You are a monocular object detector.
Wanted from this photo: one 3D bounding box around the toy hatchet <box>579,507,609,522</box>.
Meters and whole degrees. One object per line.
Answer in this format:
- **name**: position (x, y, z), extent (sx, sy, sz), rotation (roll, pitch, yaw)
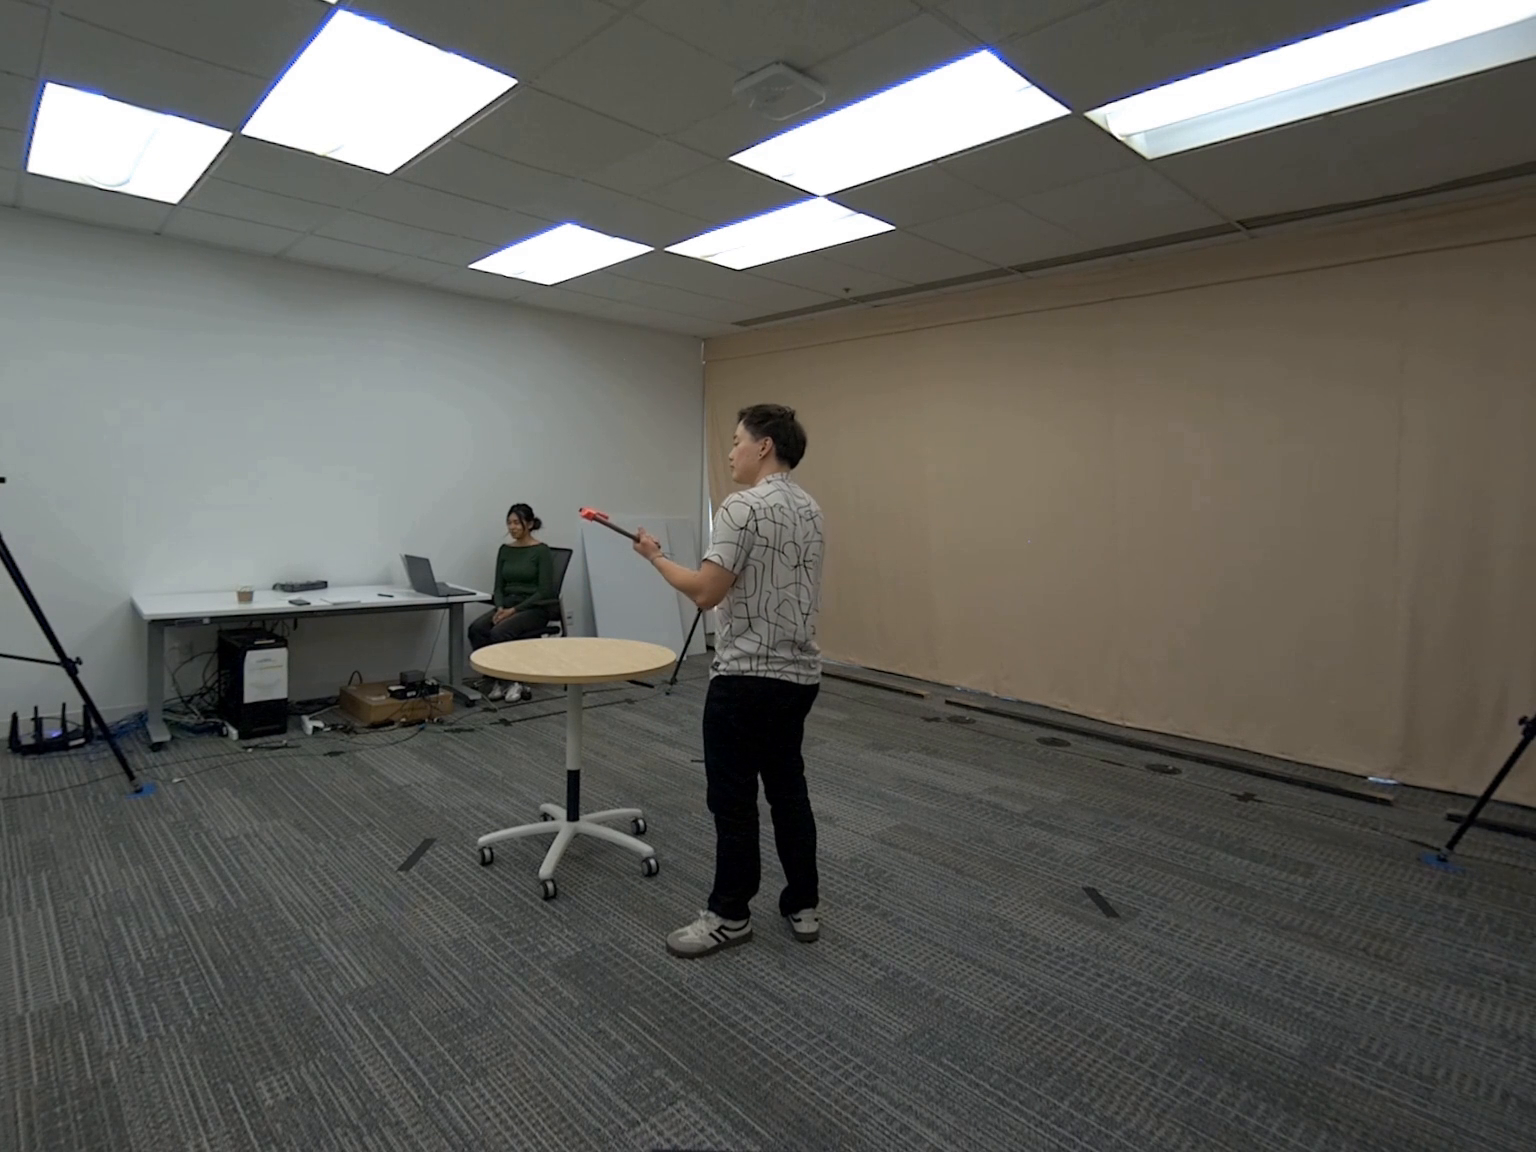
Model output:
- **toy hatchet**: position (-0.457, -0.154, 2.637), extent (0.266, 0.029, 0.133), rotation (23, 11, -13)
